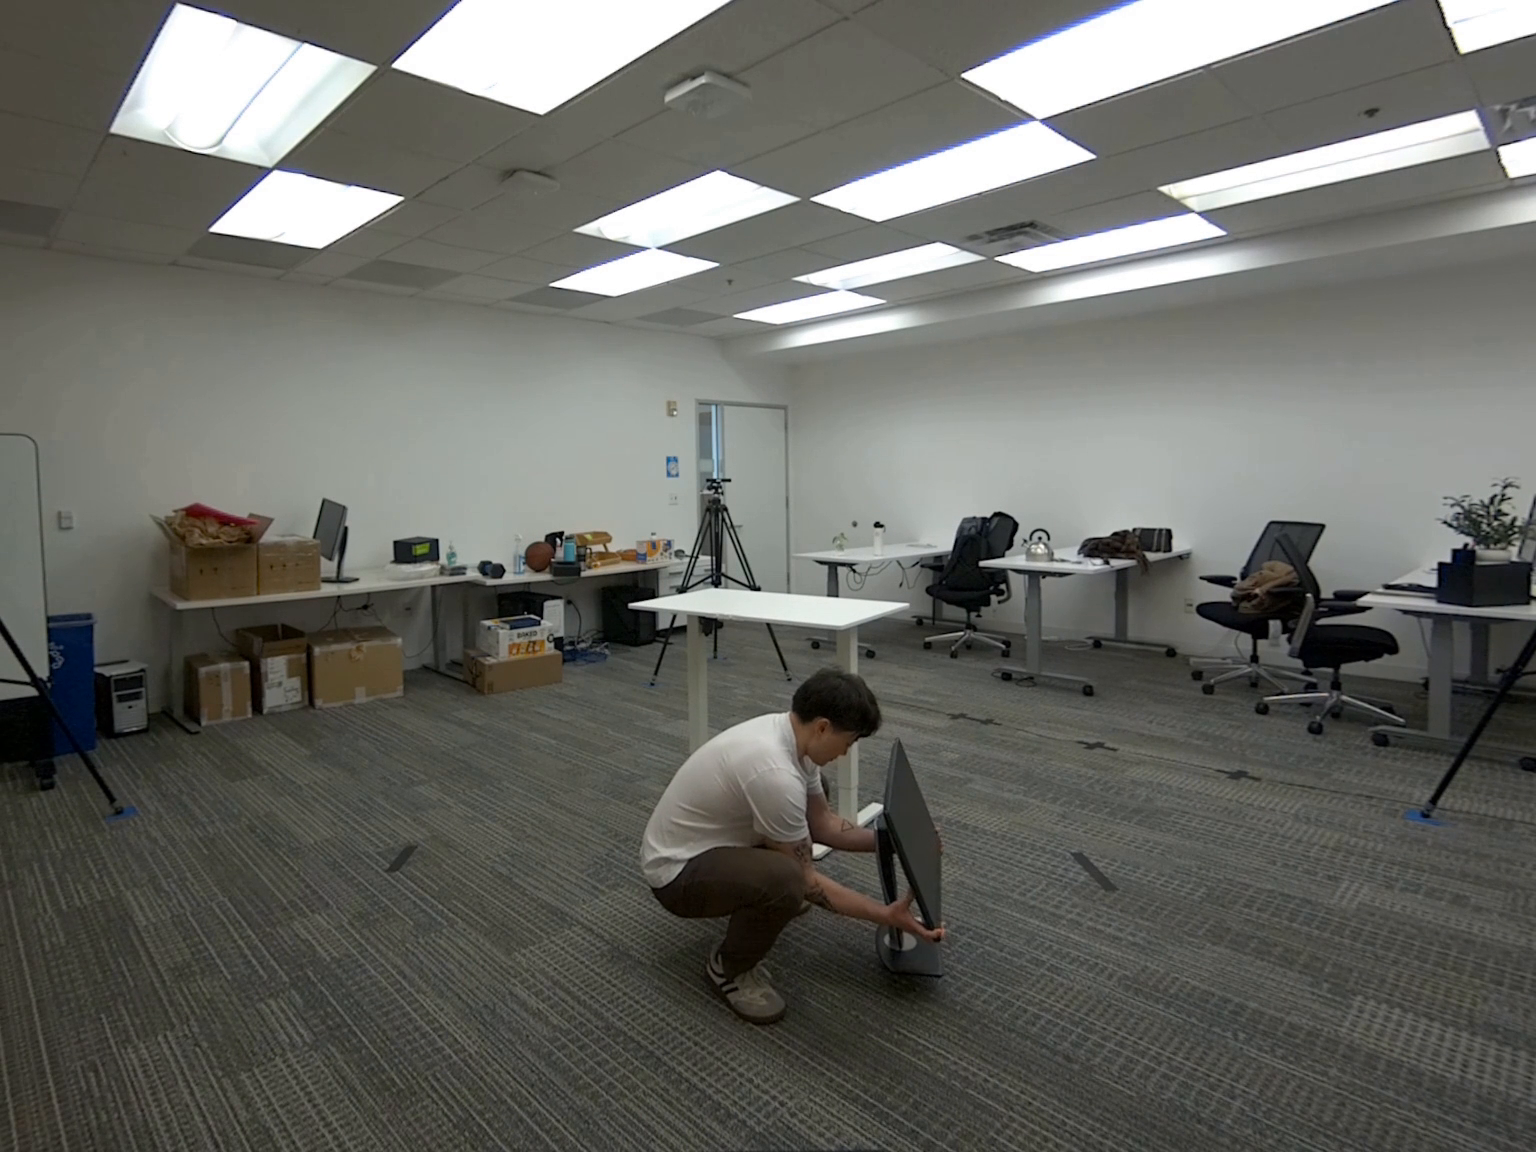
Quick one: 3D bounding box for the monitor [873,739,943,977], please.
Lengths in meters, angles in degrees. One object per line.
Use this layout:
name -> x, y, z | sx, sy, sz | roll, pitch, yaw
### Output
monitor -> 0.384, 0.802, 2.394 | 0.189, 0.518, 0.539 | -3, 10, 9
